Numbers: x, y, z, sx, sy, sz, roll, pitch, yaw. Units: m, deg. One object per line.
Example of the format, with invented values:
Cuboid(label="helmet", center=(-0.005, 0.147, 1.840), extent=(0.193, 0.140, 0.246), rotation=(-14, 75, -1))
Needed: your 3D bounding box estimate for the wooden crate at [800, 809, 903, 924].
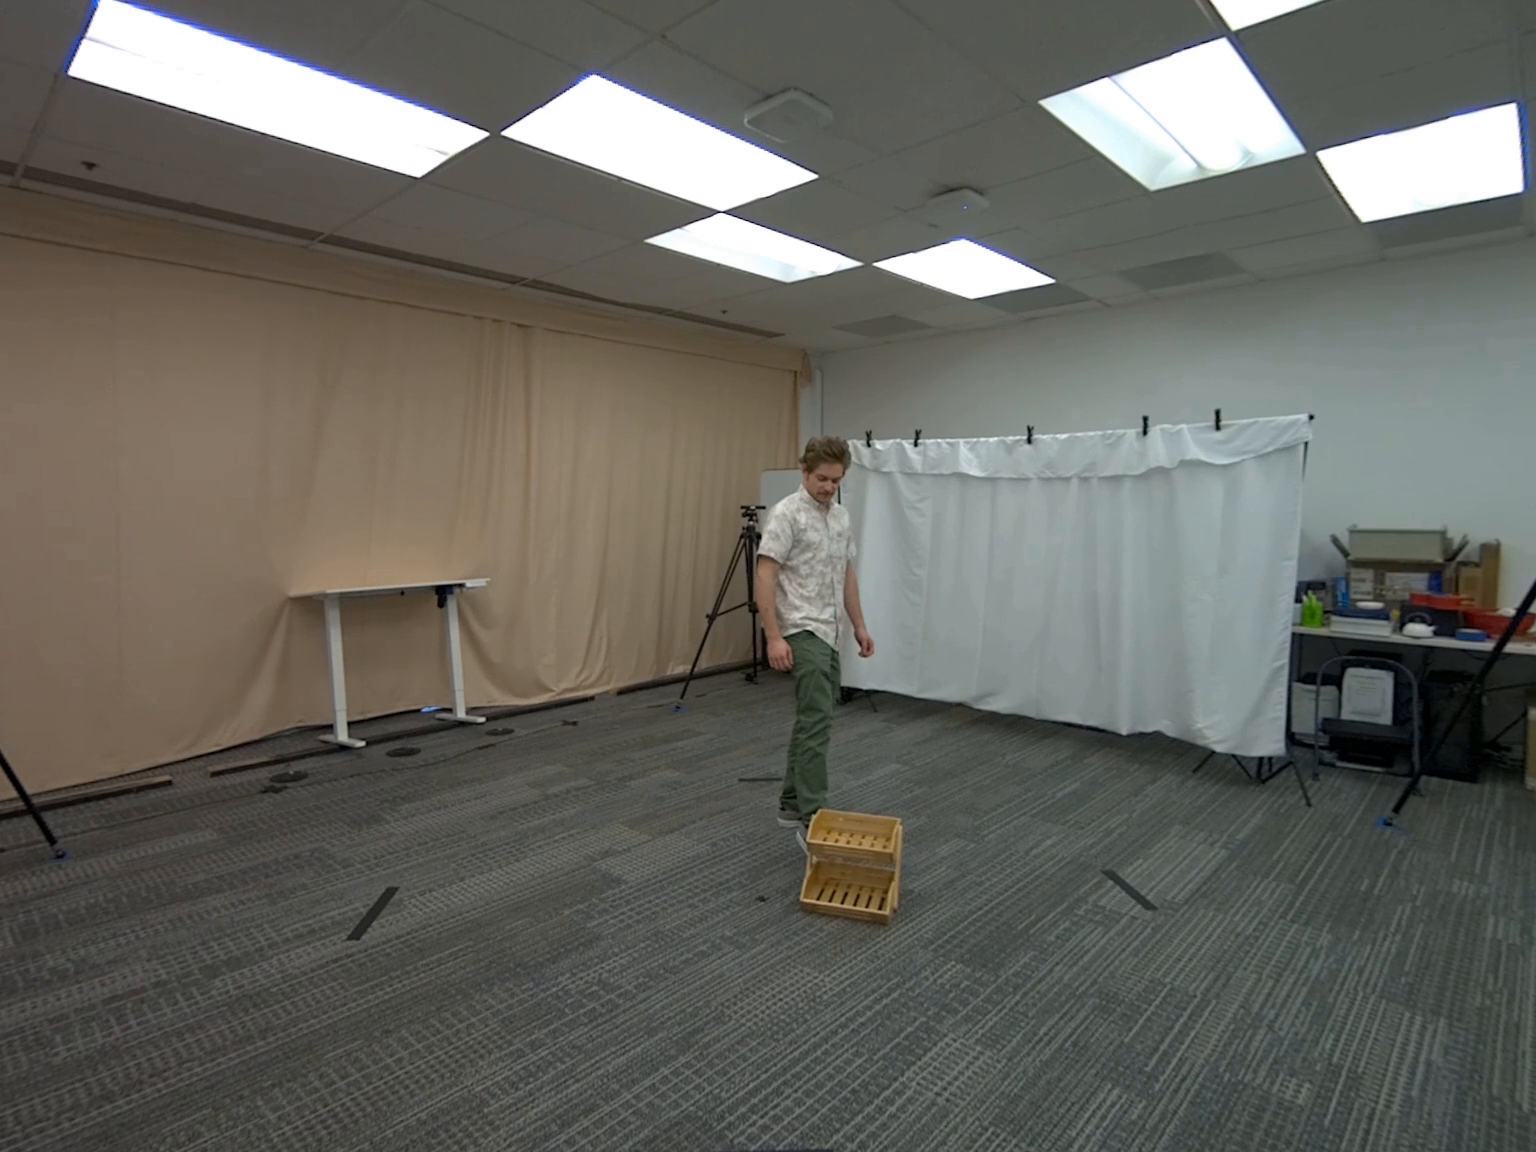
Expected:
Cuboid(label="wooden crate", center=(0.302, 1.009, 2.956), extent=(0.331, 0.273, 0.296), rotation=(1, 3, 18))
